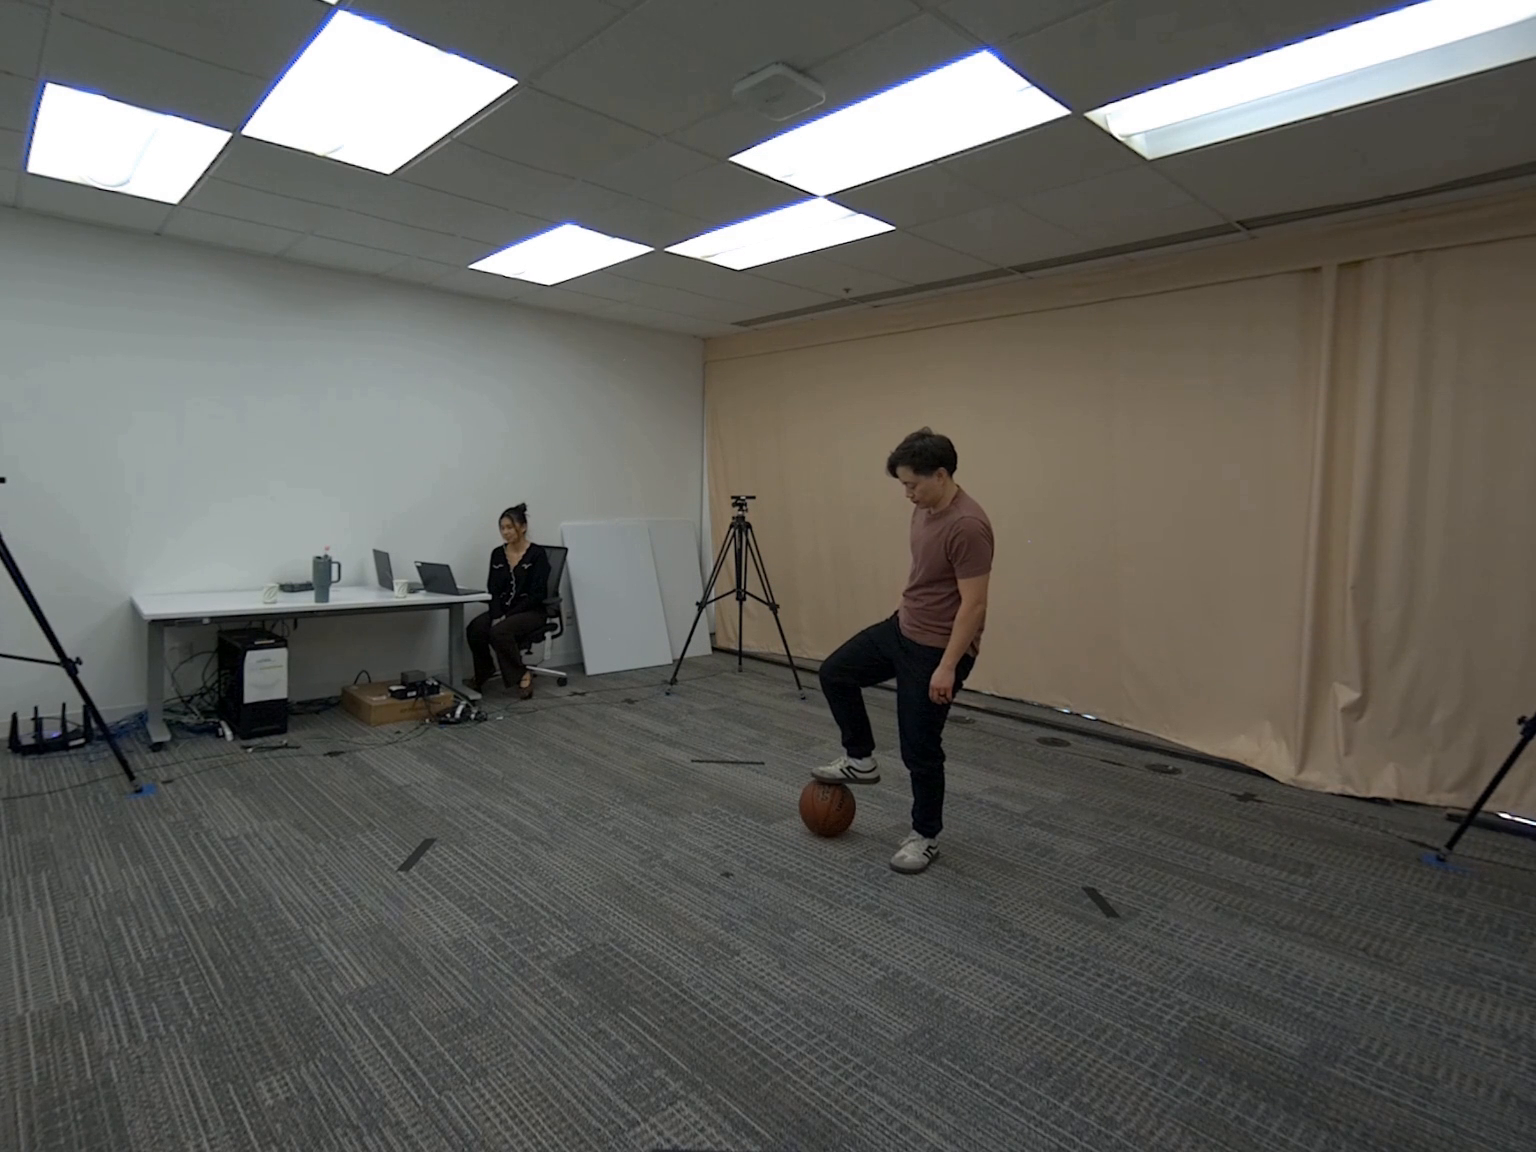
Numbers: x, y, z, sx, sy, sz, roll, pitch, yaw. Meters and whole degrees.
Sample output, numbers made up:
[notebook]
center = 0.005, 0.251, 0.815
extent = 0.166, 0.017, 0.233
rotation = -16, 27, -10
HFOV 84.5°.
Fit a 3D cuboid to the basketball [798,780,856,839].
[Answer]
[basketball]
center = 0.240, 0.957, 3.506
extent = 0.236, 0.235, 0.237
rotation = 1, 4, -1
